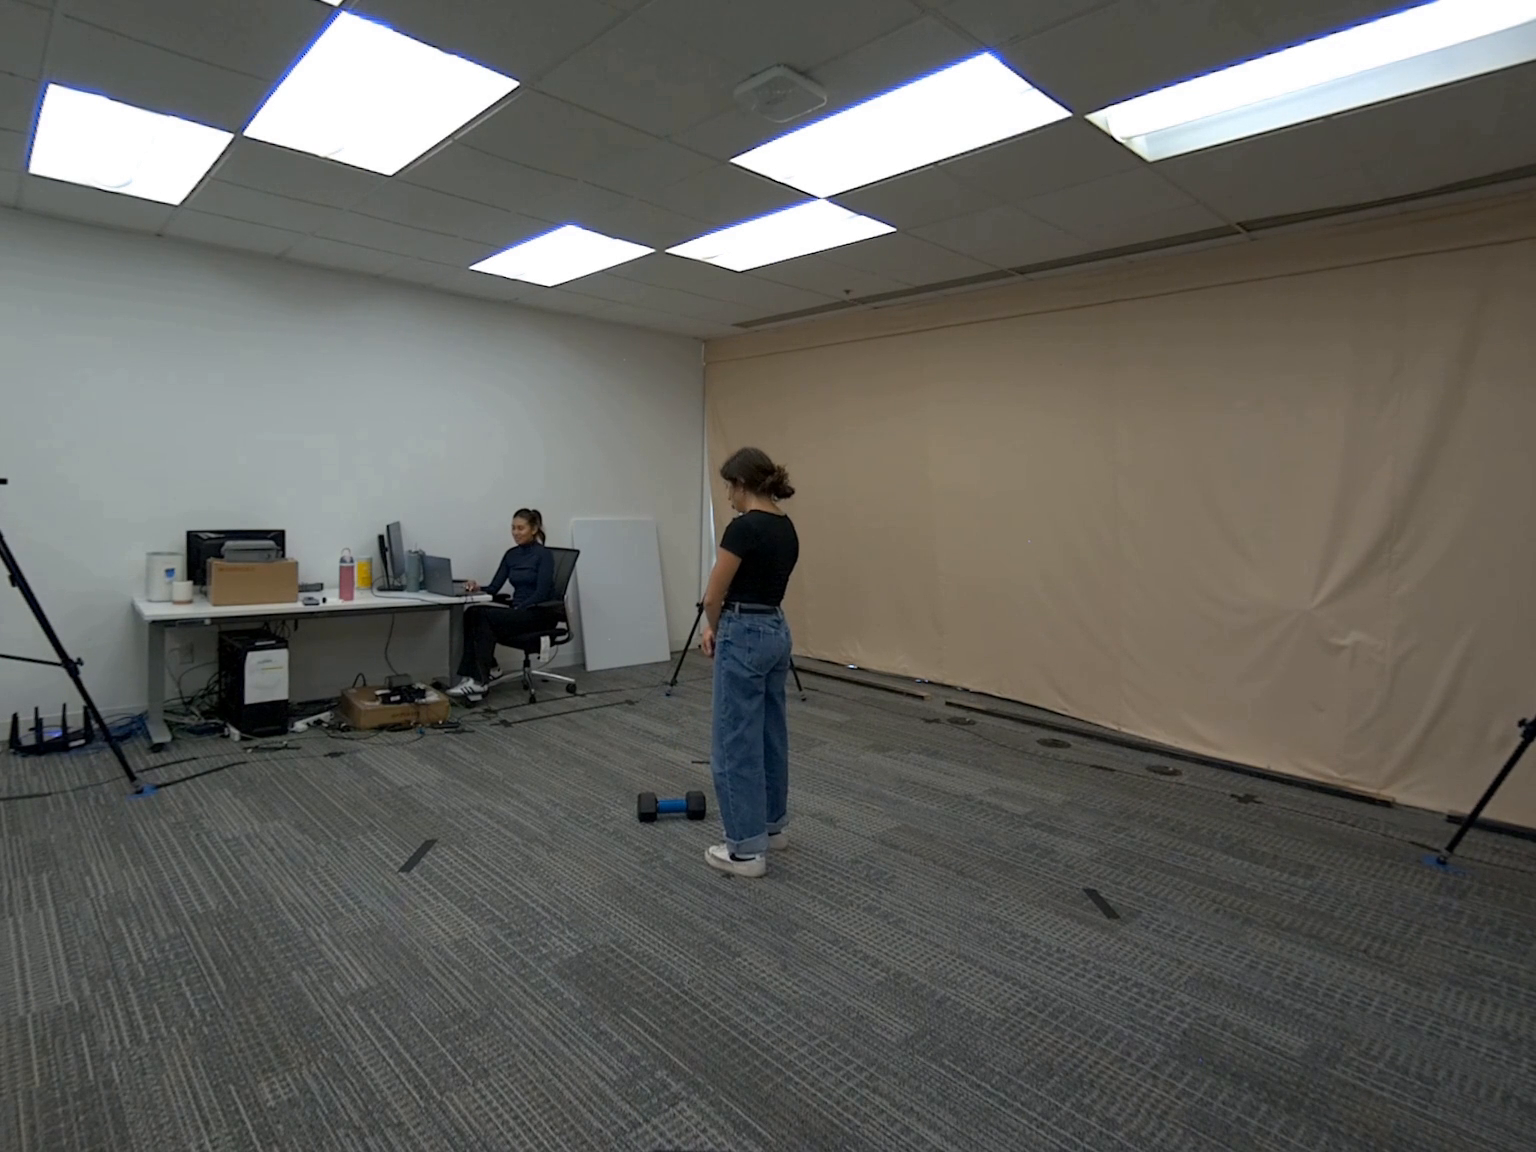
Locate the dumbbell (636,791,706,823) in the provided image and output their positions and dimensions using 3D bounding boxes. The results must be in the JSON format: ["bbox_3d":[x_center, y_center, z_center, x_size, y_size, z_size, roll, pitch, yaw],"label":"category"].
[{"bbox_3d":[-0.429,1.000,3.651,0.291,0.125,0.107,0,-26,-11],"label":"dumbbell"}]
